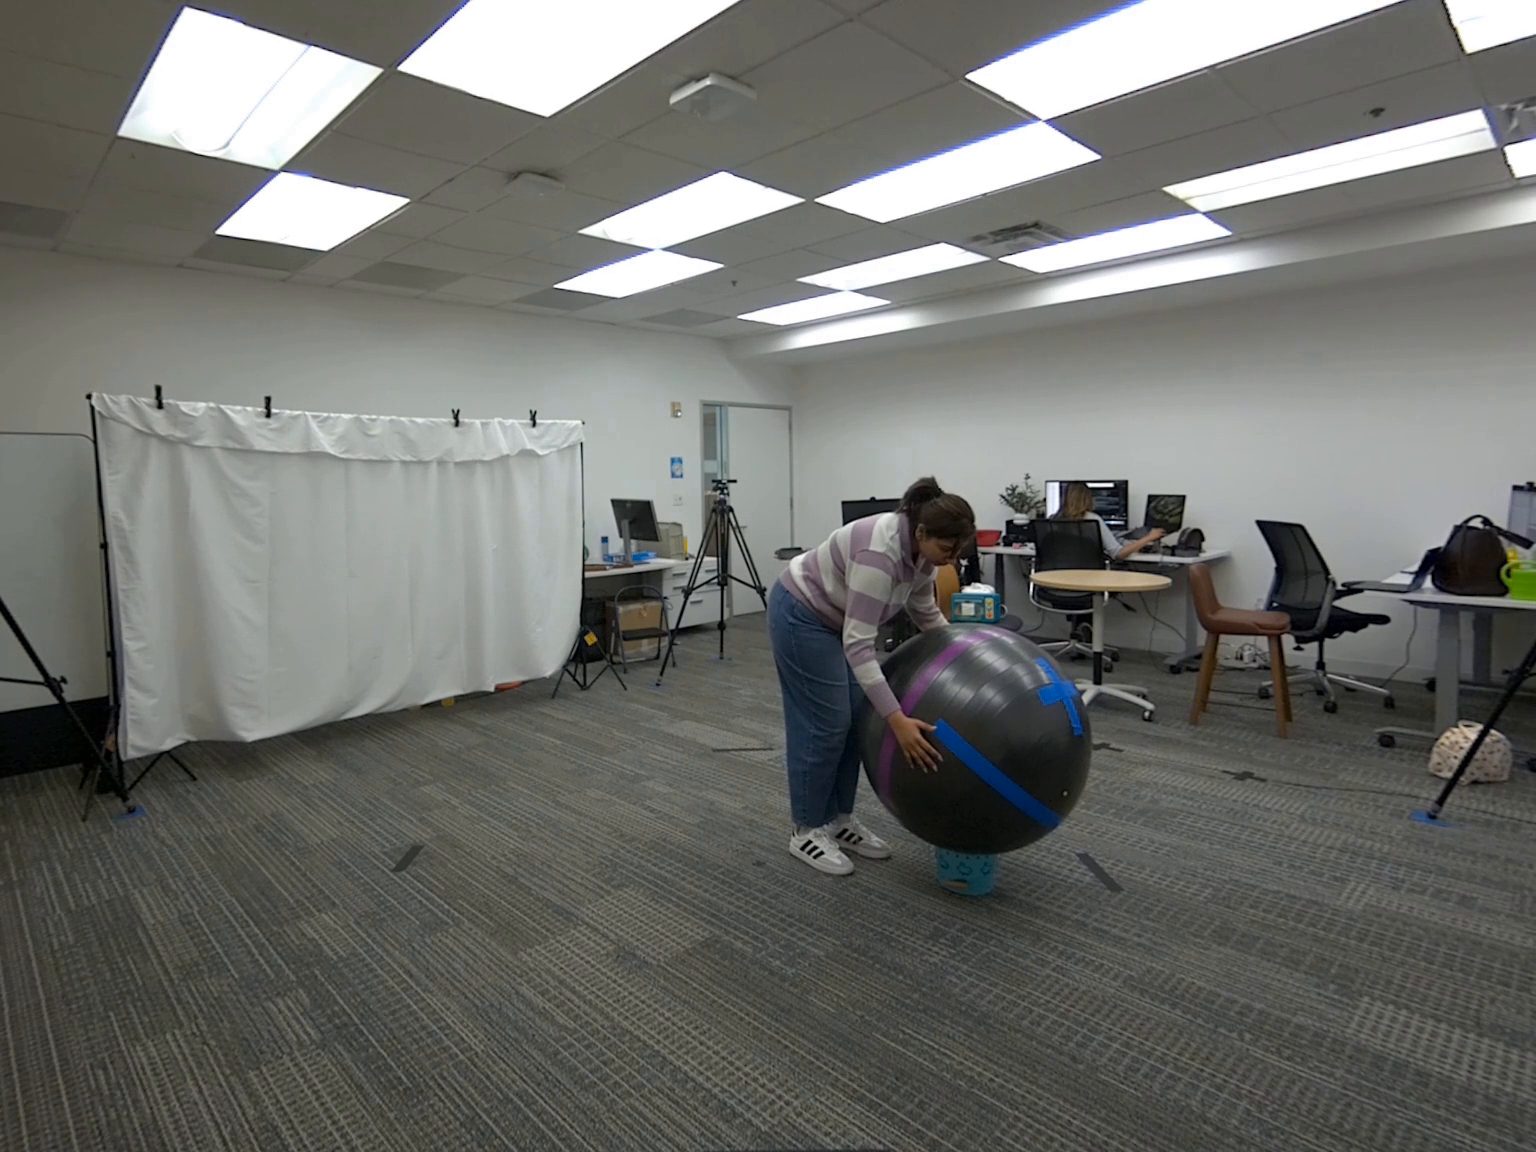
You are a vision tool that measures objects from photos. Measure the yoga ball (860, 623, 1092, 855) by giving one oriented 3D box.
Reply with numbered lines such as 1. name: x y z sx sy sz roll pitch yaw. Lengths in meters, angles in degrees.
1. yoga ball: 0.702 0.546 2.889 0.757 0.755 0.762 -1 5 -2
